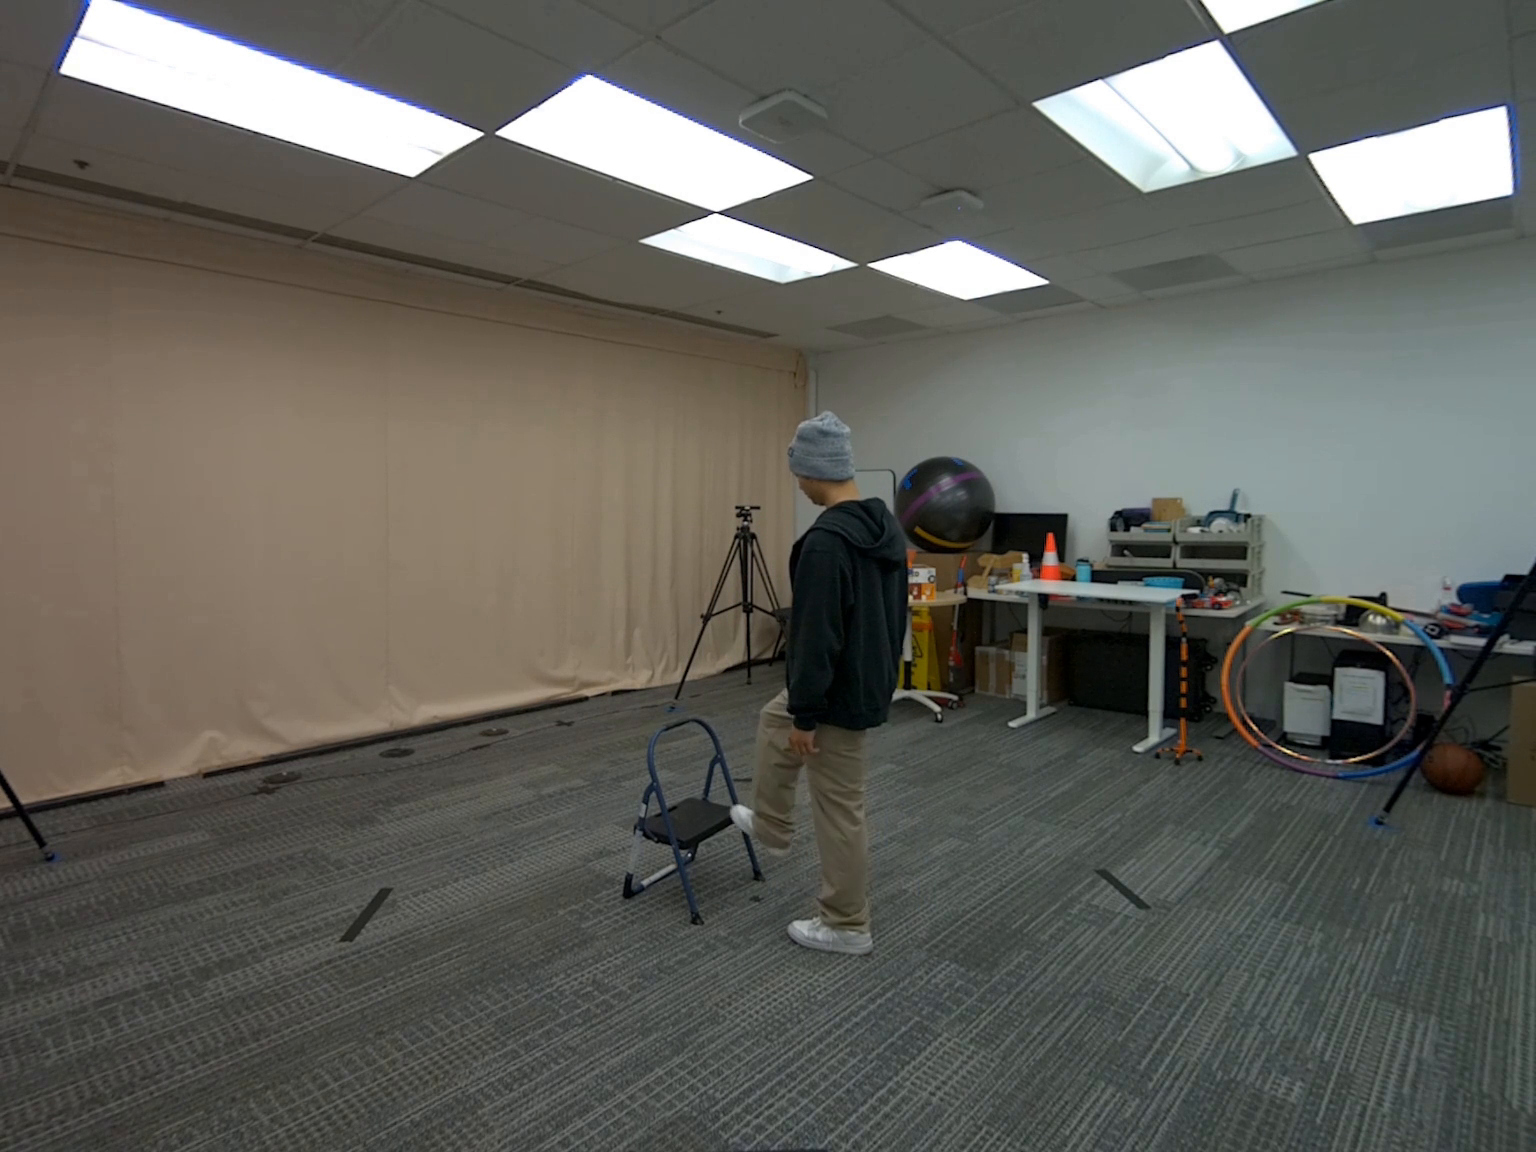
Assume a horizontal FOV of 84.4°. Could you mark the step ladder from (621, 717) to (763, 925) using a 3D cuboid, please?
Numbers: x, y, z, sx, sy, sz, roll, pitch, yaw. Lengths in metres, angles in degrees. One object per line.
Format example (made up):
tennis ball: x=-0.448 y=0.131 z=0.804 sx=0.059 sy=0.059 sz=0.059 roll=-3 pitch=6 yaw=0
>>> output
step ladder: x=-0.268 y=0.836 z=3.054 sx=0.360 sy=0.605 sz=0.418 roll=2 pitch=4 yaw=33
